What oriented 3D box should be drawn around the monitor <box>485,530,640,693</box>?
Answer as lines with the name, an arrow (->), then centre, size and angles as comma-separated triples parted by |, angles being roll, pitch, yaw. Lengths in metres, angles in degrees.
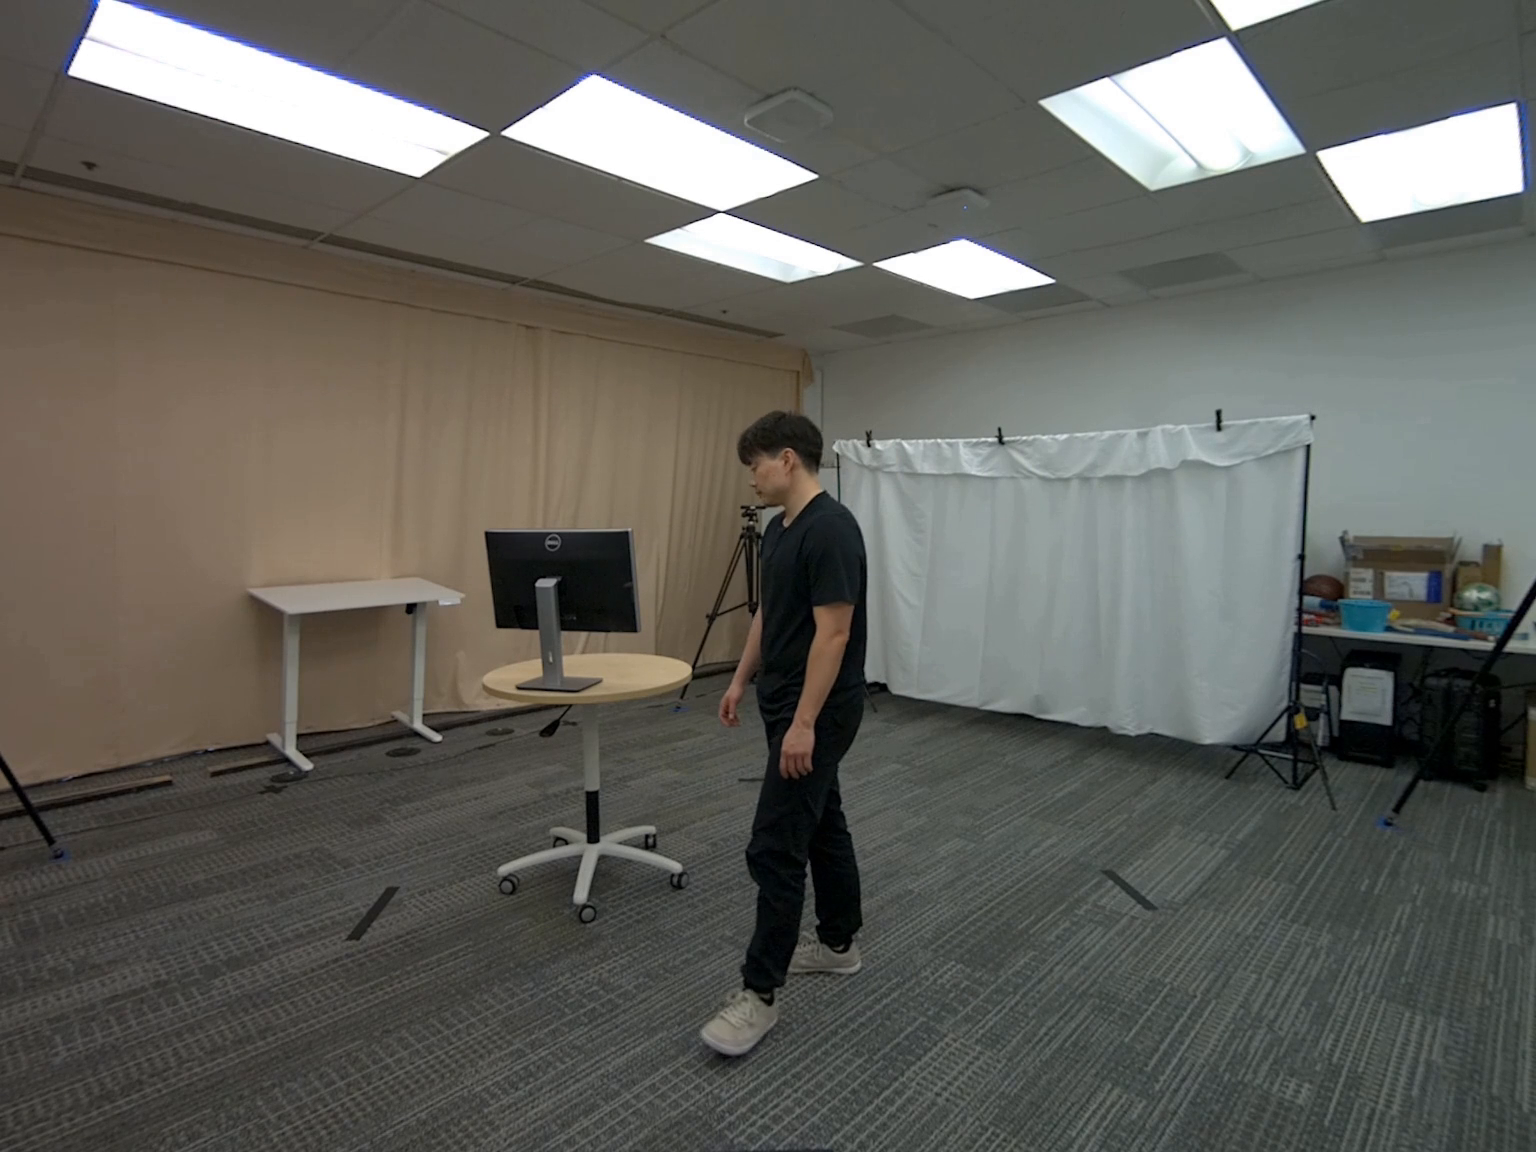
monitor -> -0.718, 0.113, 2.892 | 0.548, 0.522, 0.184 | -1, 1, 15
